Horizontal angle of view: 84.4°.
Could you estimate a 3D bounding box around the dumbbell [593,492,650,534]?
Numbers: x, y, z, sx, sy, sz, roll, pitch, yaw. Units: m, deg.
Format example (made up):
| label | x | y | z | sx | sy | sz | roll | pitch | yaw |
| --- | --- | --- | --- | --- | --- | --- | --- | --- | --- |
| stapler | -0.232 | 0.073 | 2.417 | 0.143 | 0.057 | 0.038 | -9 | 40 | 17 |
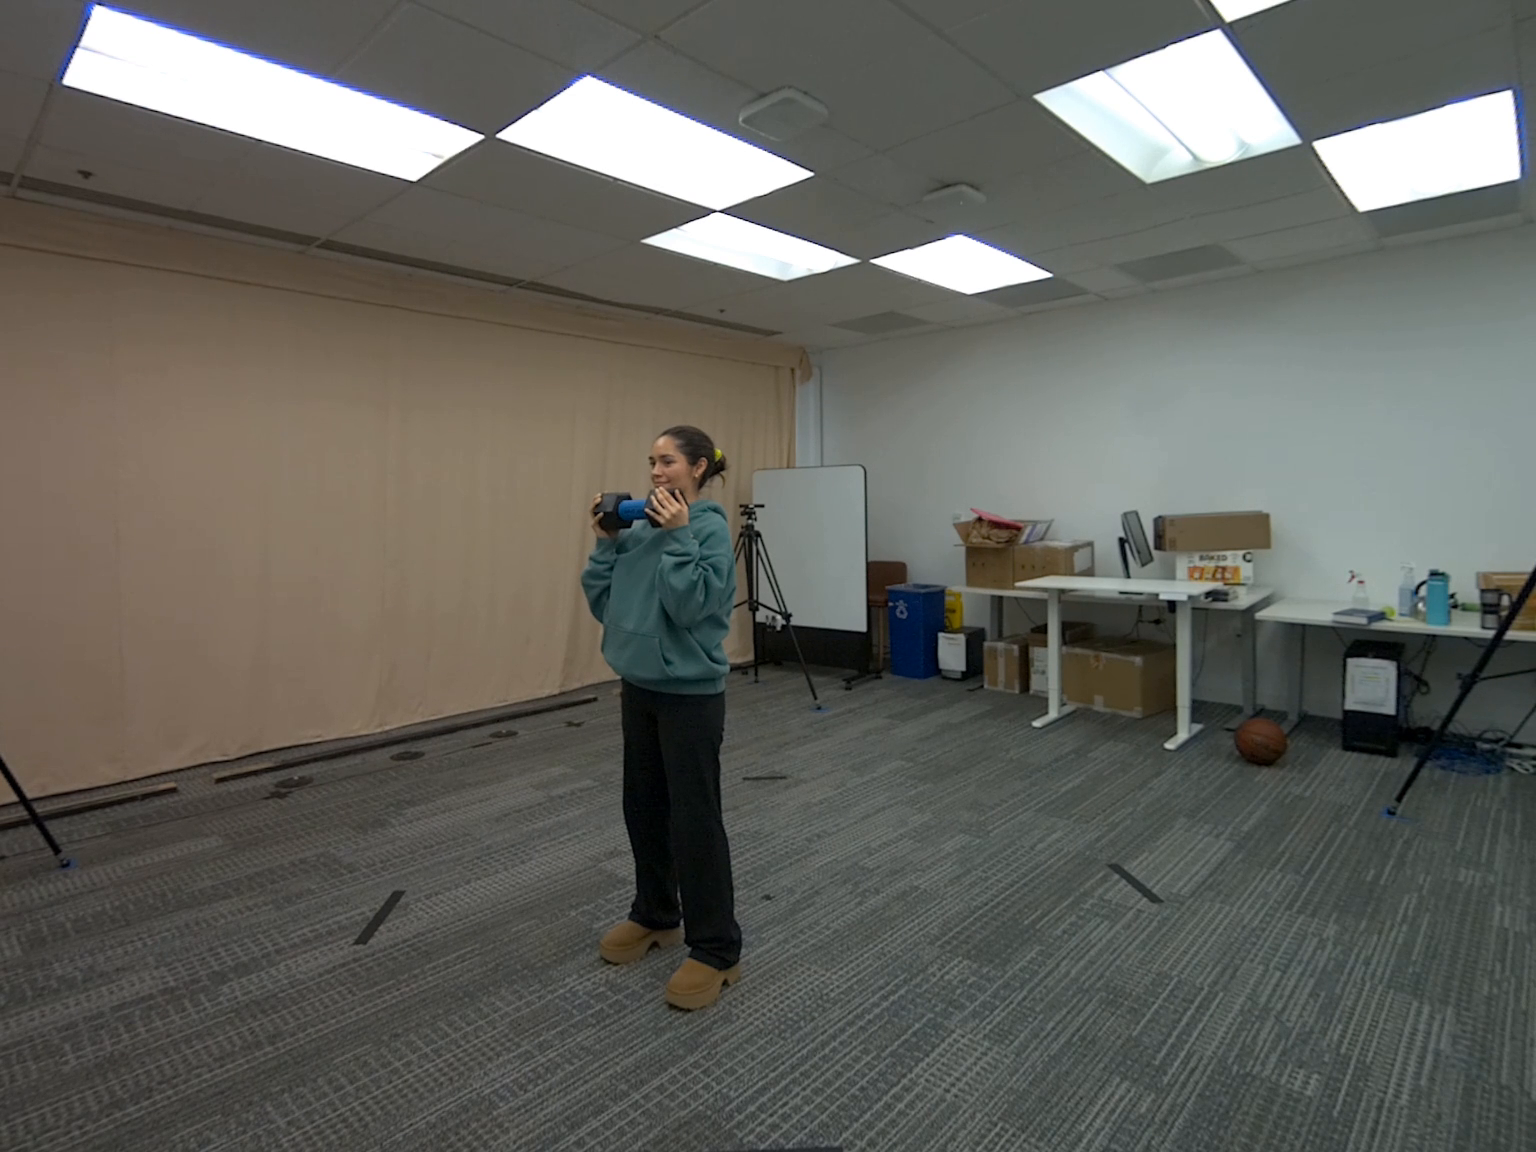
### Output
| label | x | y | z | sx | sy | sz | roll | pitch | yaw |
| --- | --- | --- | --- | --- | --- | --- | --- | --- | --- |
| dumbbell | -0.361 | -0.187 | 2.404 | 0.303 | 0.120 | 0.108 | -1 | 35 | 40 |
